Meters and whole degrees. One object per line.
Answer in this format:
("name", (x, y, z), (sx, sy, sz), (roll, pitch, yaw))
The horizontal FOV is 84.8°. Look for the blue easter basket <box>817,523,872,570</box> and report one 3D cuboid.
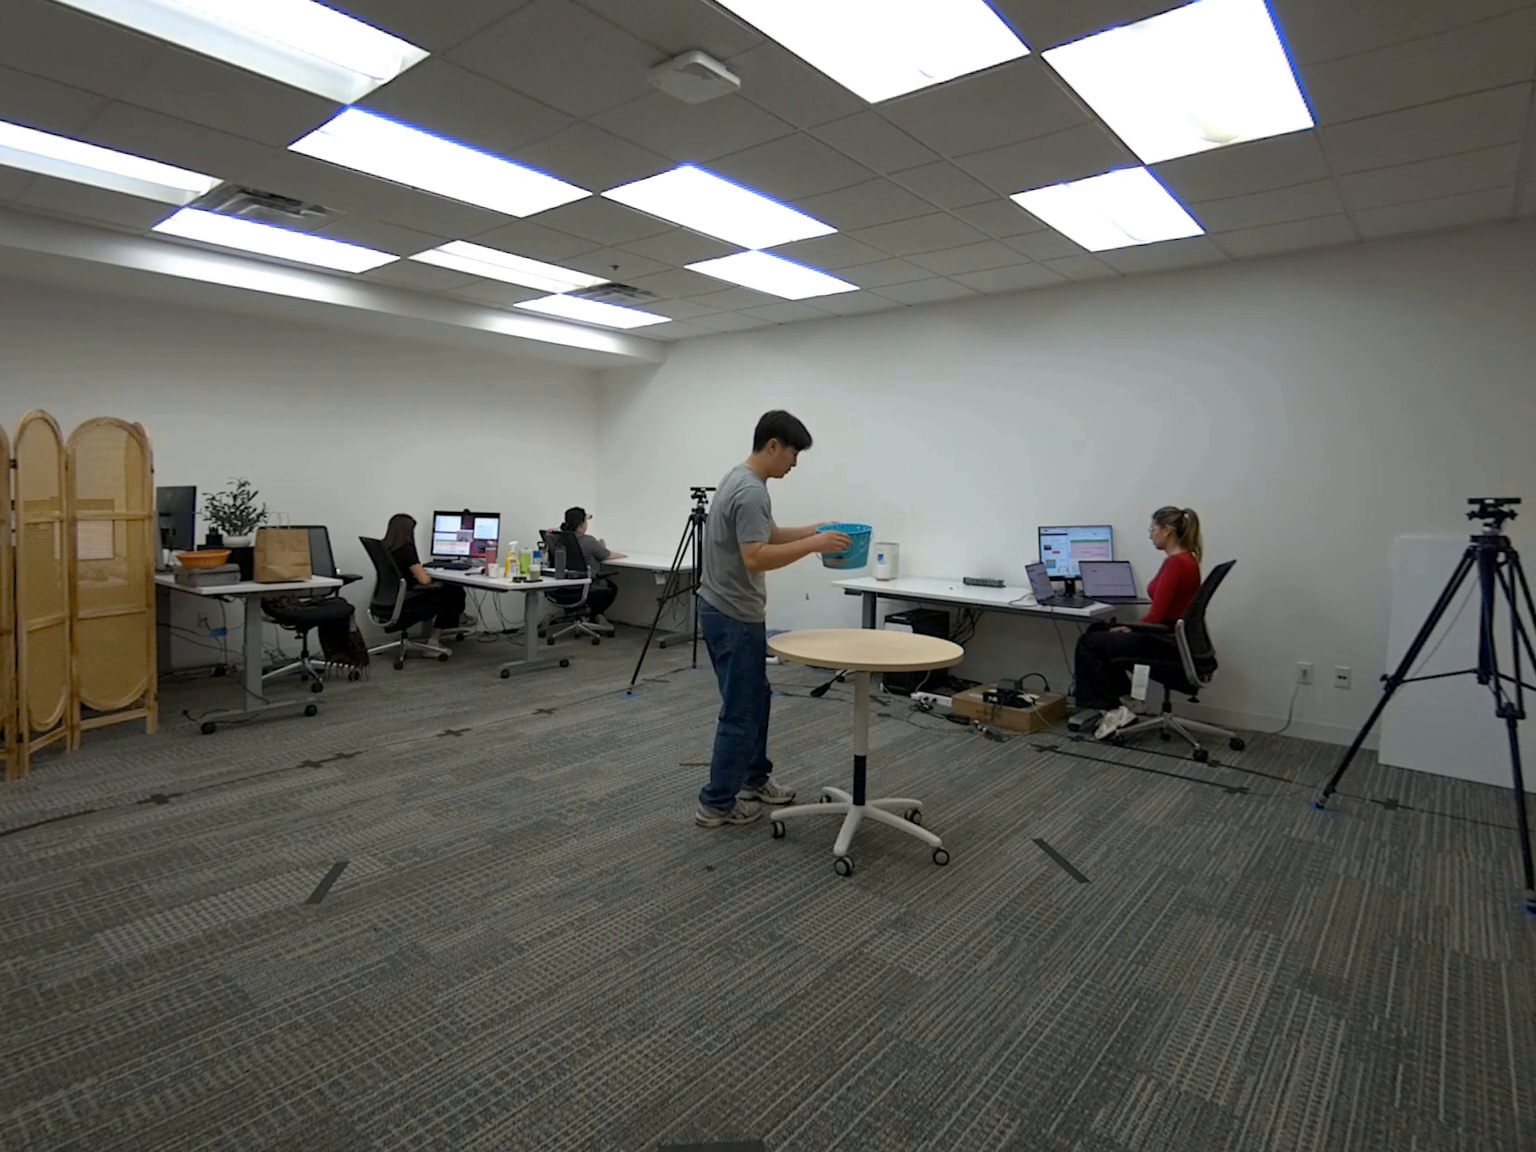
("blue easter basket", (0.295, -0.116, 3.477), (0.243, 0.154, 0.246), (-2, 10, -1))
